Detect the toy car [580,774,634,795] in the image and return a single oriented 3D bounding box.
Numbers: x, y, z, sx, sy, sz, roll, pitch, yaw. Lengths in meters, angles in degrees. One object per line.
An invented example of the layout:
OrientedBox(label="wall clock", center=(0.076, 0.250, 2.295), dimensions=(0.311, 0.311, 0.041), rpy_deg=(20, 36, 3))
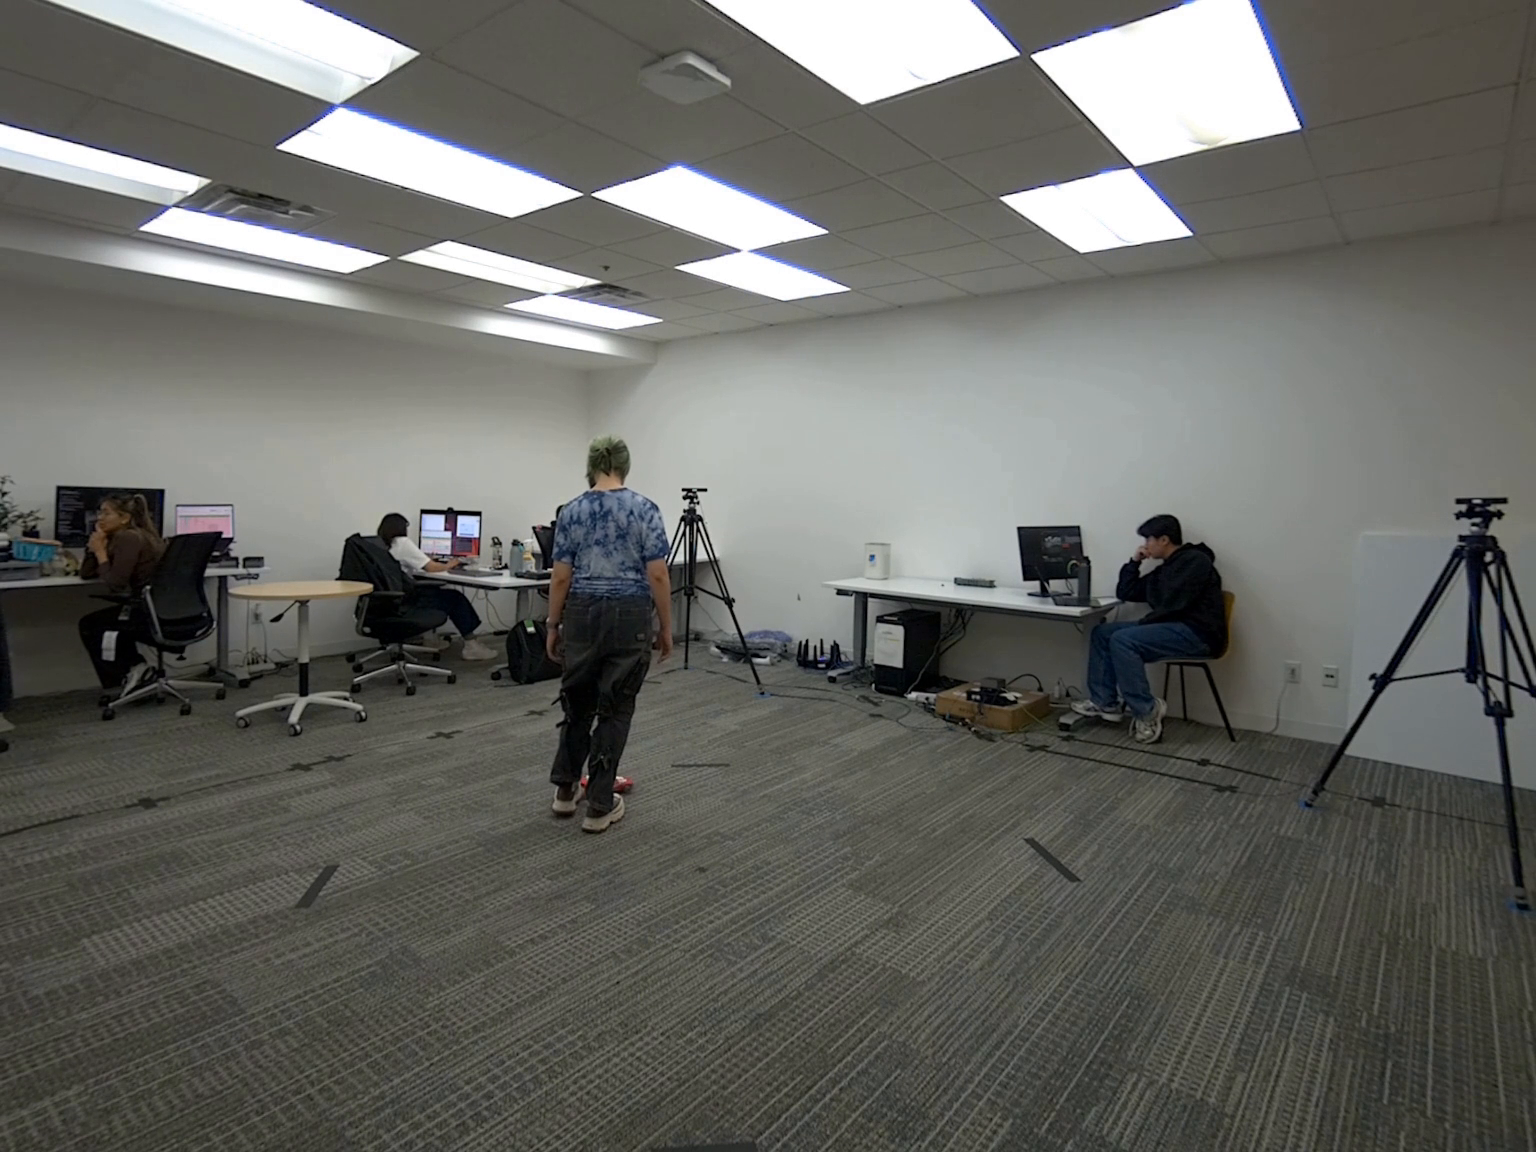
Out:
OrientedBox(label="toy car", center=(-0.760, 0.947, 3.879), dimensions=(0.247, 0.083, 0.134), rpy_deg=(17, -4, -26))
